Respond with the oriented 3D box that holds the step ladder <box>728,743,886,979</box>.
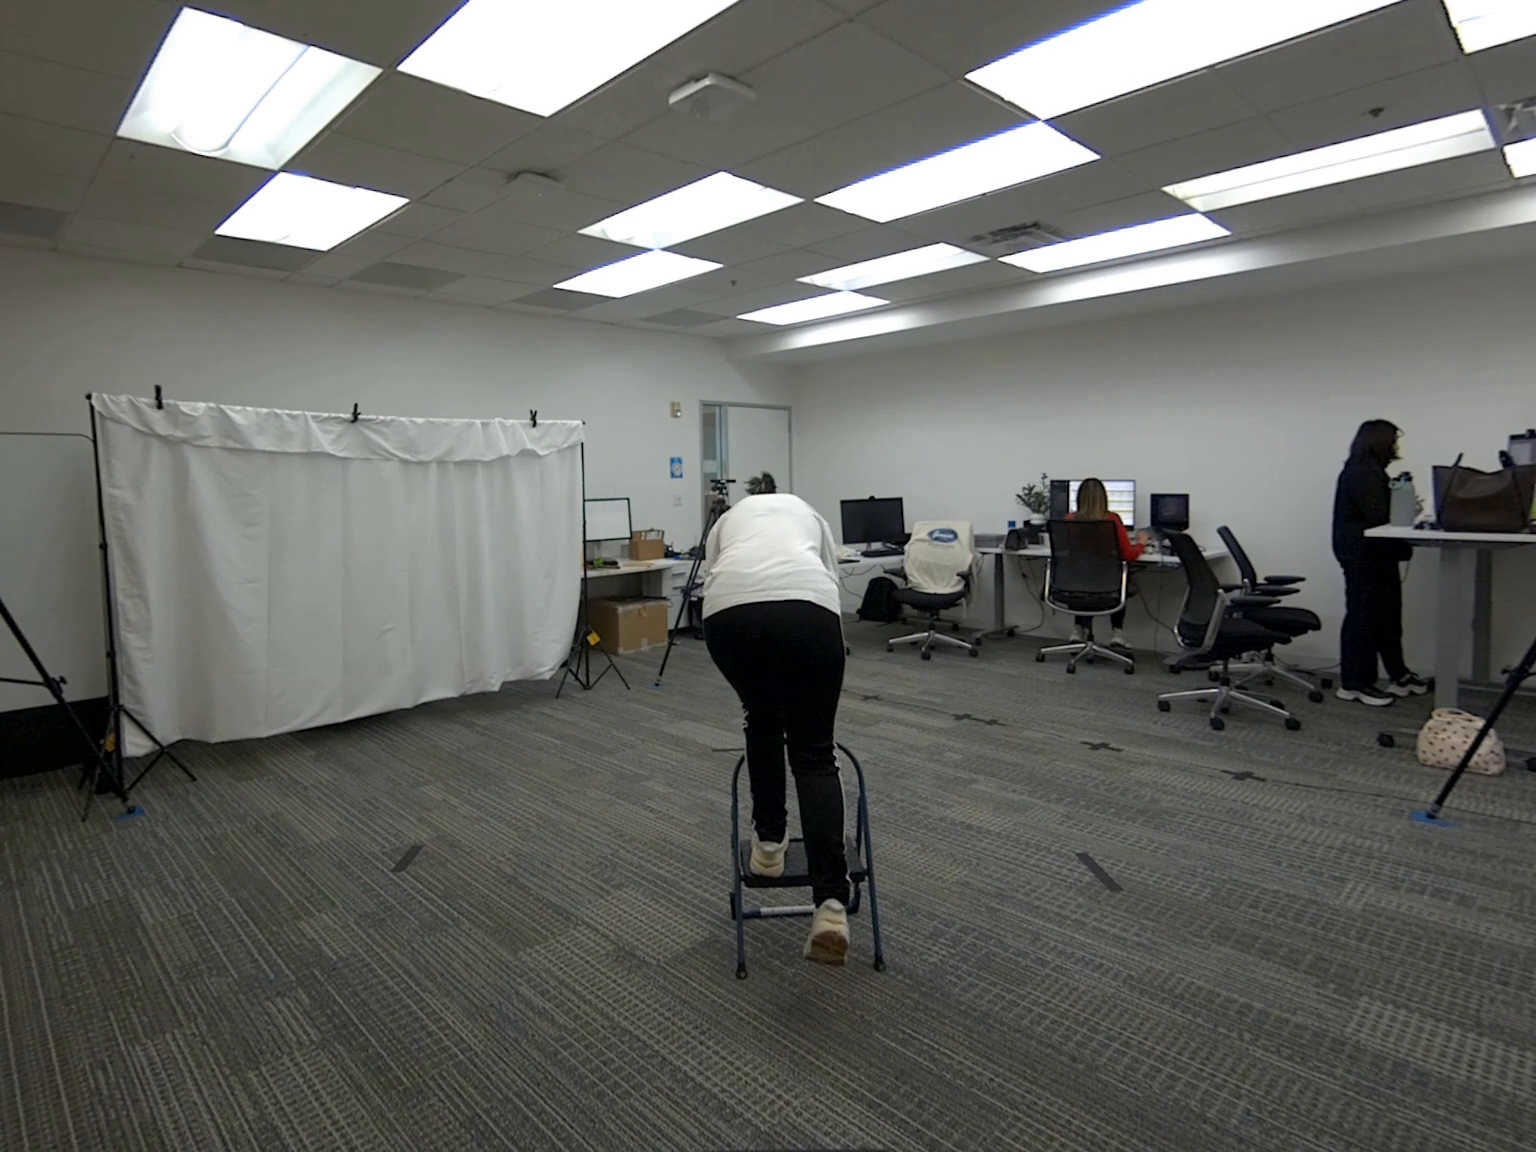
[{"bbox_3d":[0.107,0.814,2.564,0.428,0.603,0.352,-1,5,-6],"label":"step ladder"}]
